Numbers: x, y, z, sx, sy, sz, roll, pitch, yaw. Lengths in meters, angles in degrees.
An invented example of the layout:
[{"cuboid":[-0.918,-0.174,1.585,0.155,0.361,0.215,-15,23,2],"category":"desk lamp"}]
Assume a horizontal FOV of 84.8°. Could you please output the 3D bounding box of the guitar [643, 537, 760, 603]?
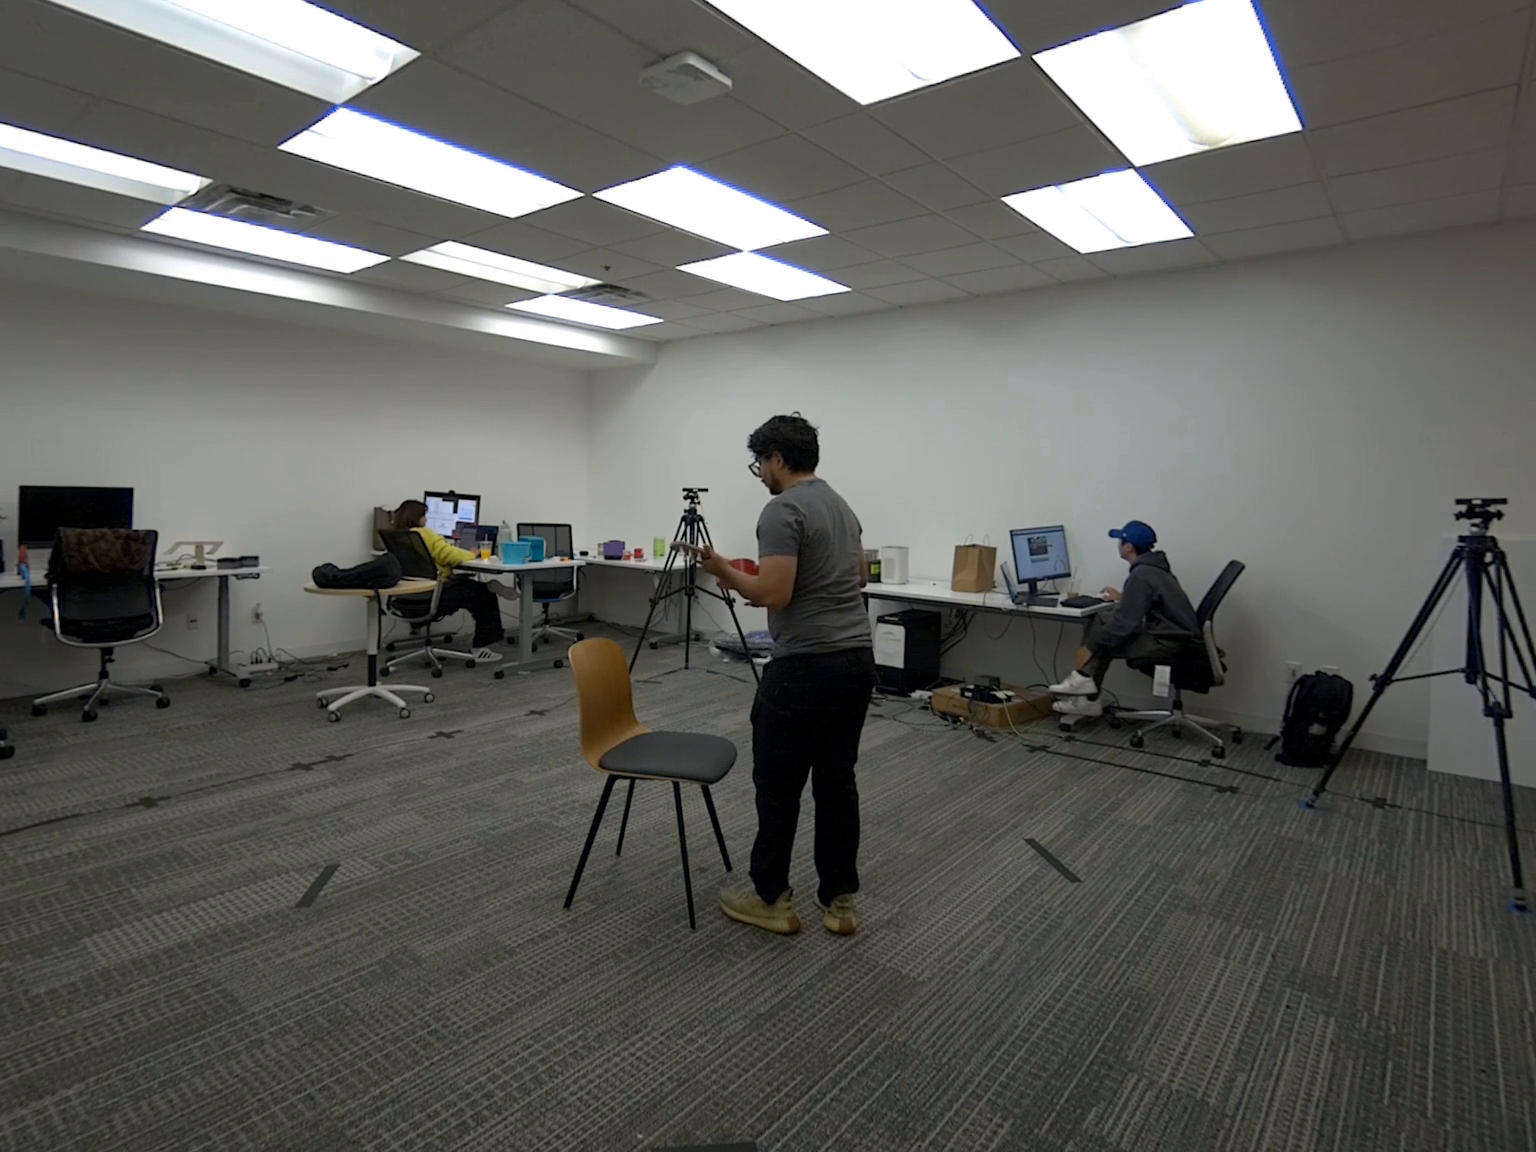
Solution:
[{"cuboid":[-0.159,-0.010,2.838,0.480,0.072,0.196,15,-28,-36],"category":"guitar"}]
